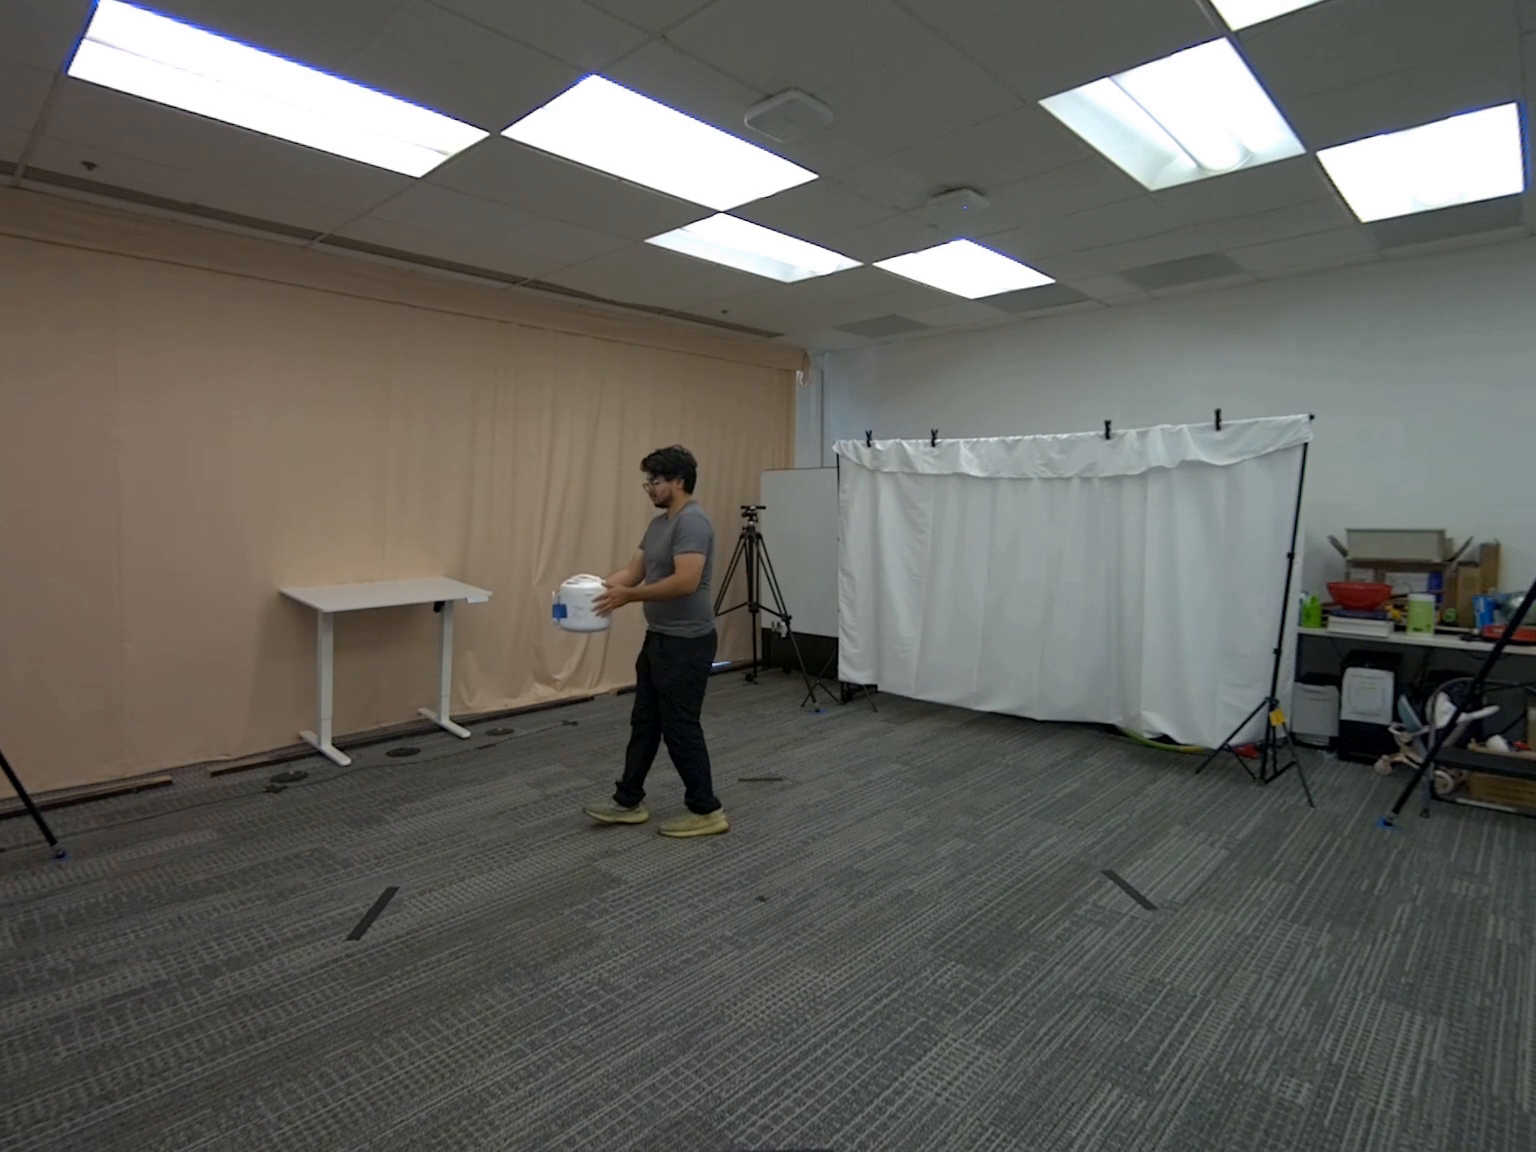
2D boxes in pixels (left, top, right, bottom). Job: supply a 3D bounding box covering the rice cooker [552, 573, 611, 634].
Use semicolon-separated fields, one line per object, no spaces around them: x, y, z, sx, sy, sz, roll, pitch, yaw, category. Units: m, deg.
-0.753;0.107;3.462;0.227;0.232;0.211;3;4;30;rice cooker
